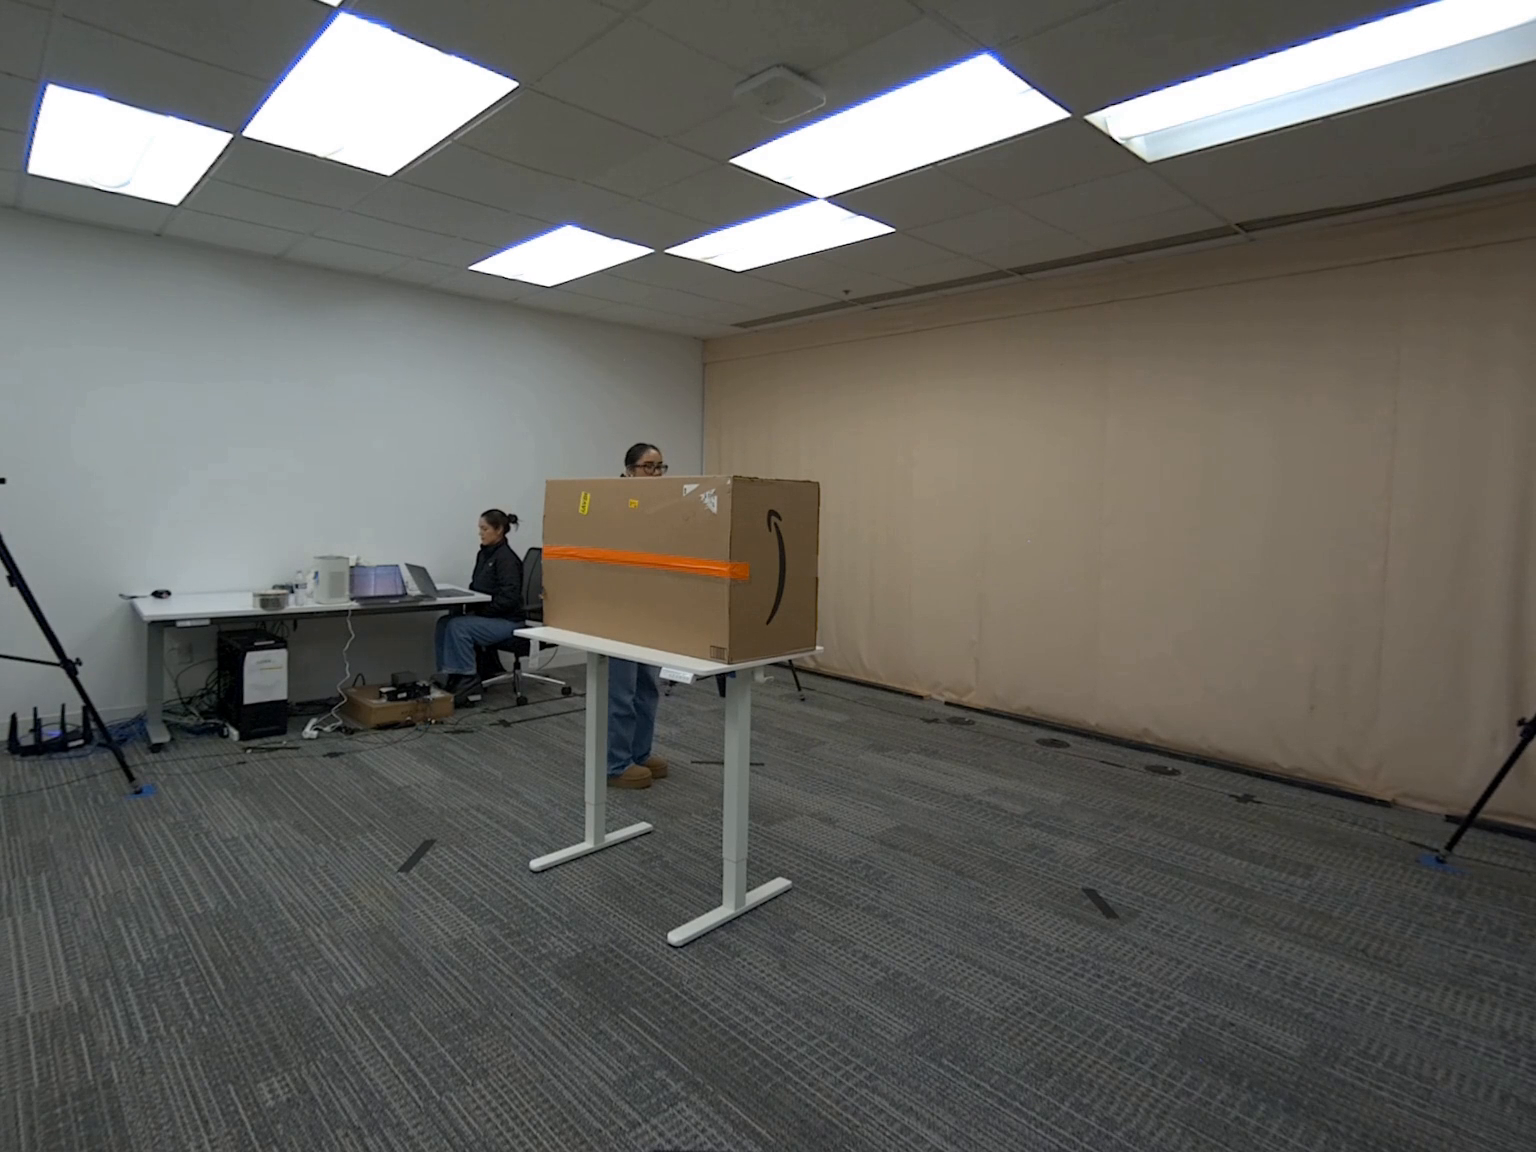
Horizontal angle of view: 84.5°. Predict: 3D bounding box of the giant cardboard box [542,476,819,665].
[{"bbox_3d":[-0.356,-0.058,3.055,1.052,0.576,0.416,5,4,43],"label":"giant cardboard box"}]
